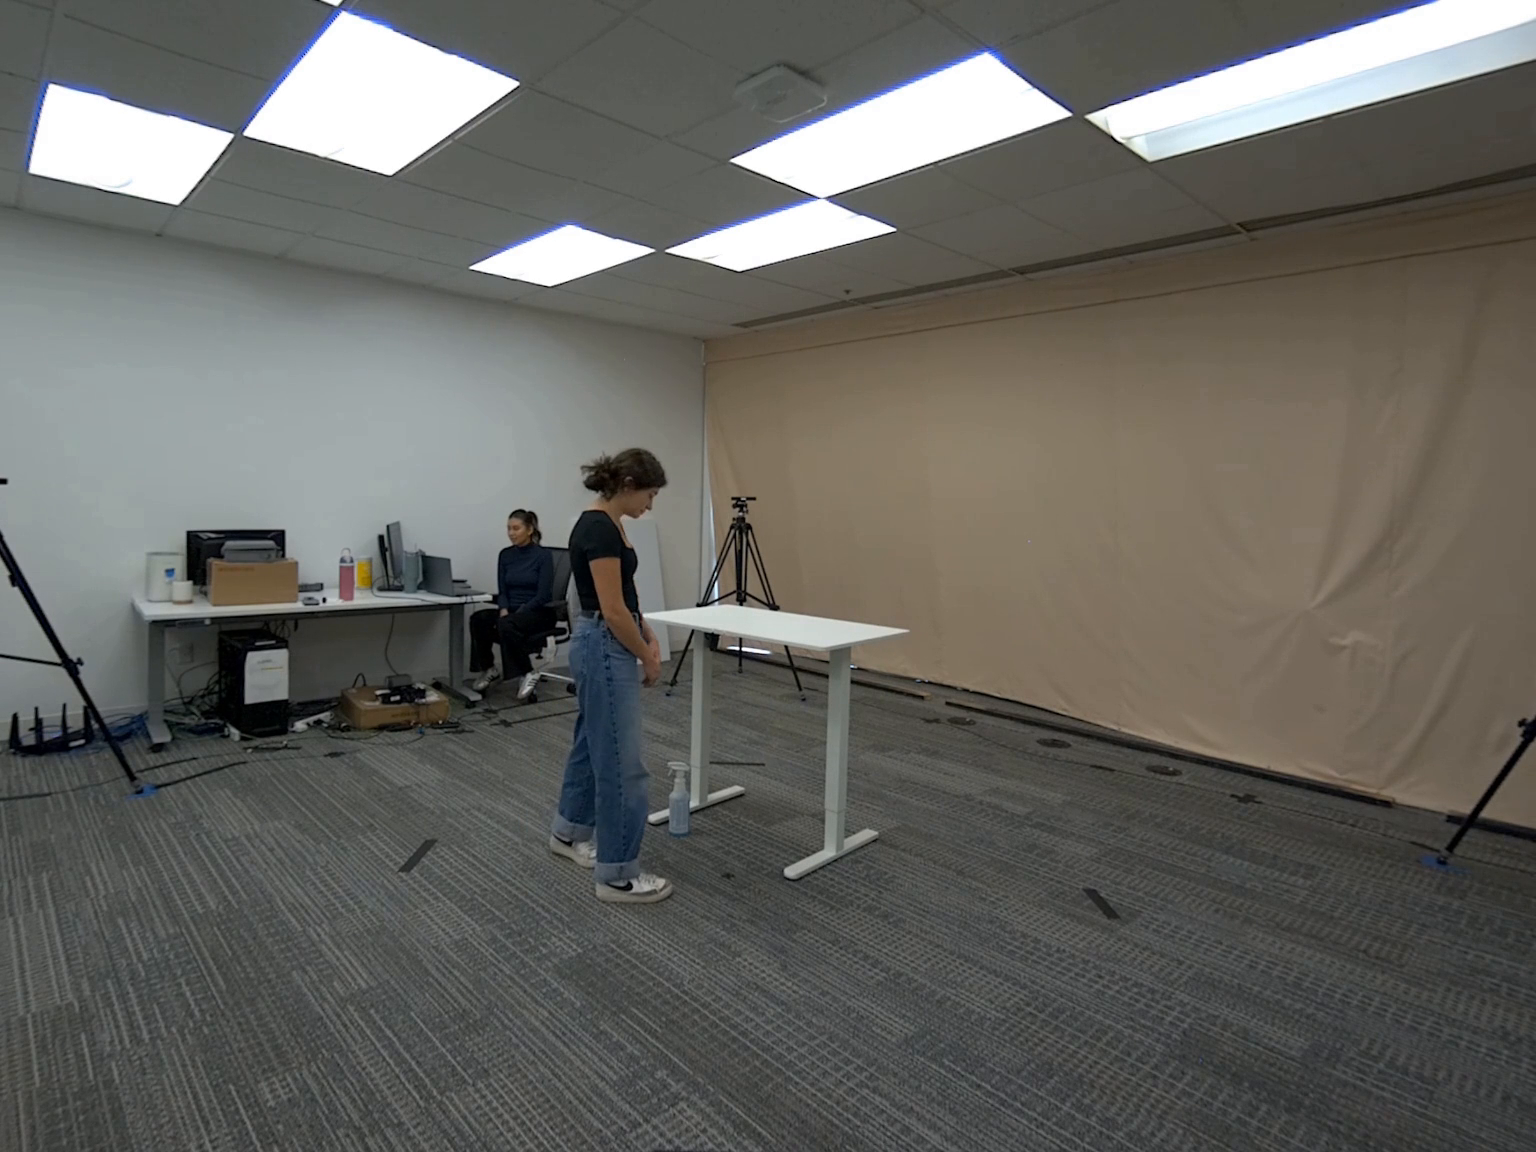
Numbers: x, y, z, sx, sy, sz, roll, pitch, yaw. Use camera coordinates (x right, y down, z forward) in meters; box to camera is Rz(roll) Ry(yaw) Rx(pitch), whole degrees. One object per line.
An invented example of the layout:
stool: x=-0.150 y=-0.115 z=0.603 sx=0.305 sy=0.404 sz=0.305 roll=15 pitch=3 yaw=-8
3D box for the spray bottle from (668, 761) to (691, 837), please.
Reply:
spray bottle: x=-0.387 y=0.929 z=3.496 sx=0.091 sy=0.296 sz=0.086 roll=0 pitch=5 yaw=22
